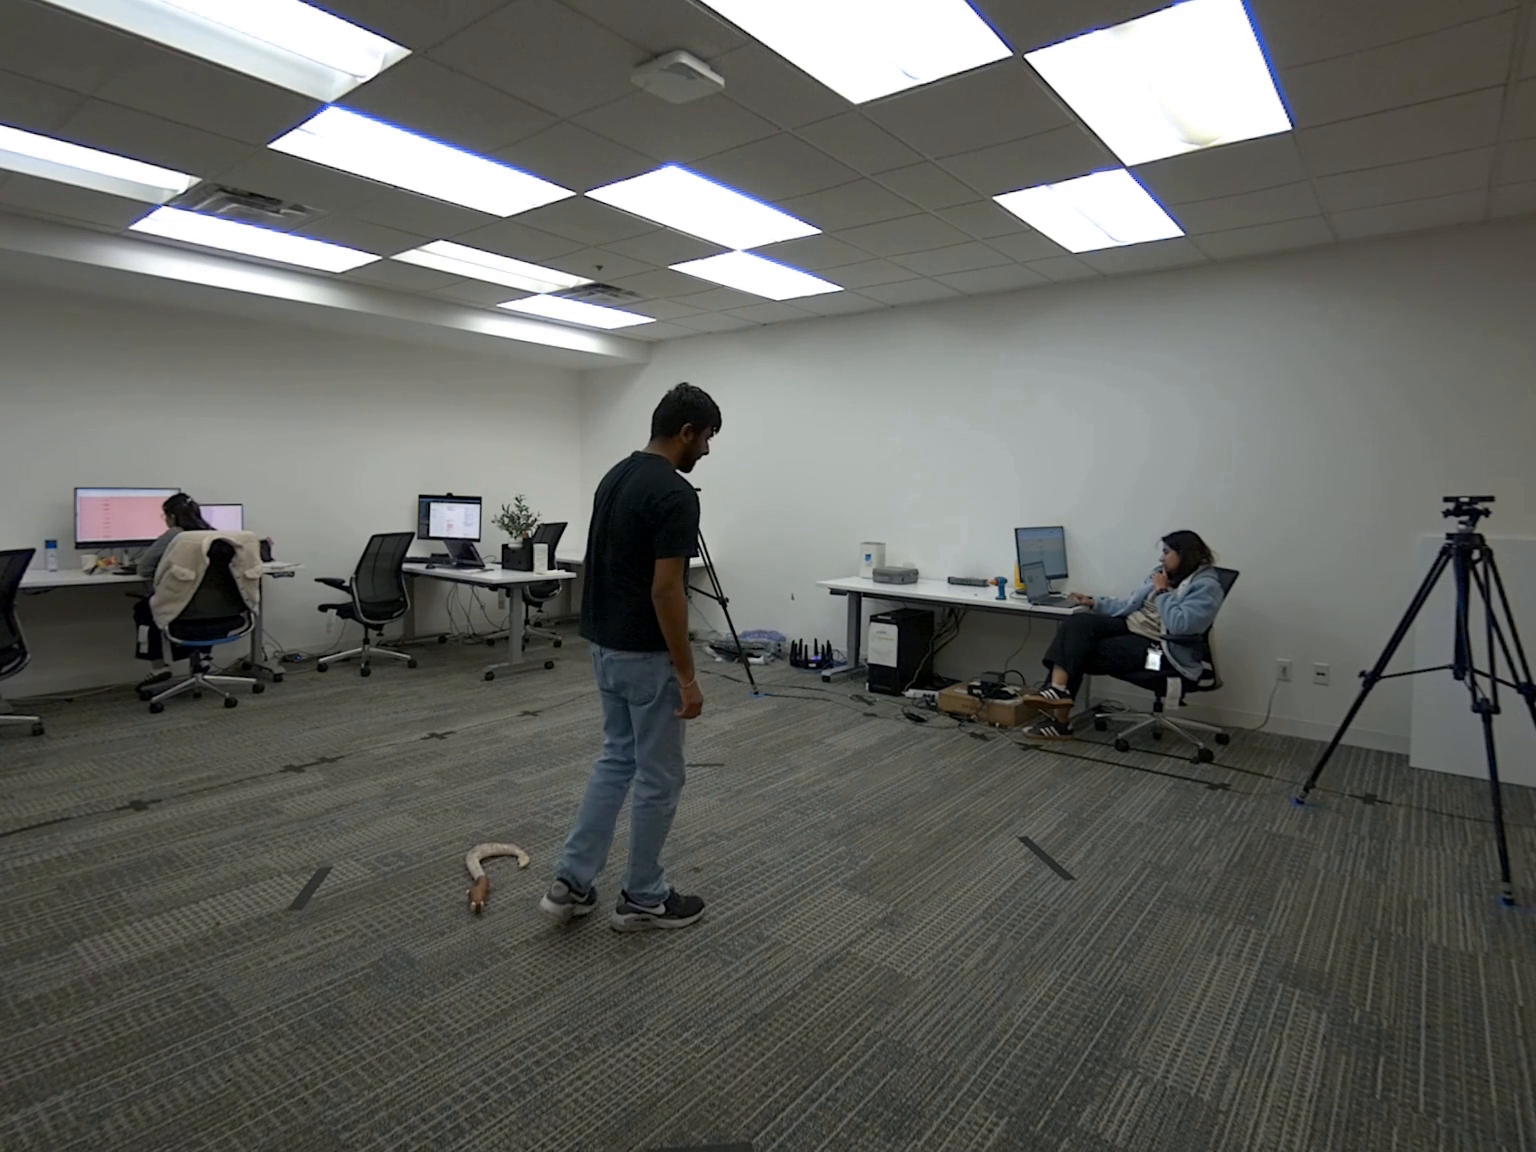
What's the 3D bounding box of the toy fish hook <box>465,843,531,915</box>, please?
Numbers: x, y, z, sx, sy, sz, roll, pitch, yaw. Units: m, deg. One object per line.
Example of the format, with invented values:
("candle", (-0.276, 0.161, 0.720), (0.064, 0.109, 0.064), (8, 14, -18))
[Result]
("toy fish hook", (-0.966, 1.046, 2.990), (0.221, 0.048, 0.516), (-2, 6, -15))
